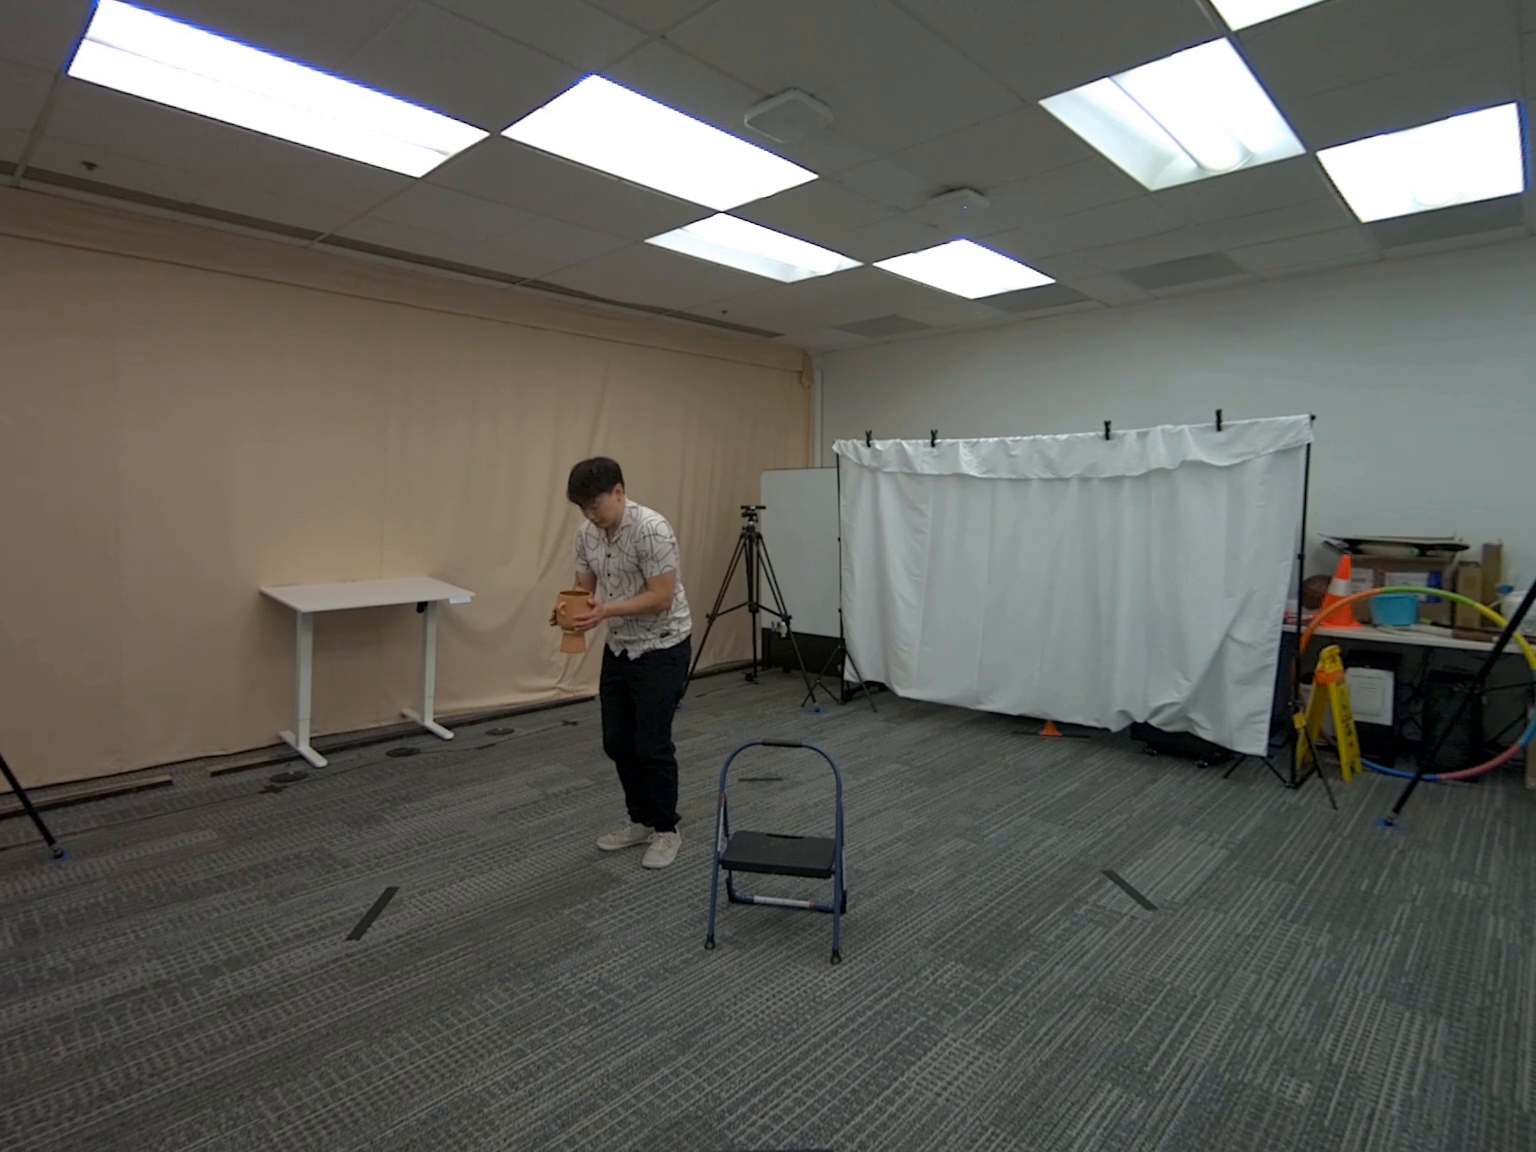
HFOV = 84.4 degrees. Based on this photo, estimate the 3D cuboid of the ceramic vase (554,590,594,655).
[{"bbox_3d":[-0.734,0.177,3.169,0.155,0.219,0.138,-1,7,-28],"label":"ceramic vase"}]
